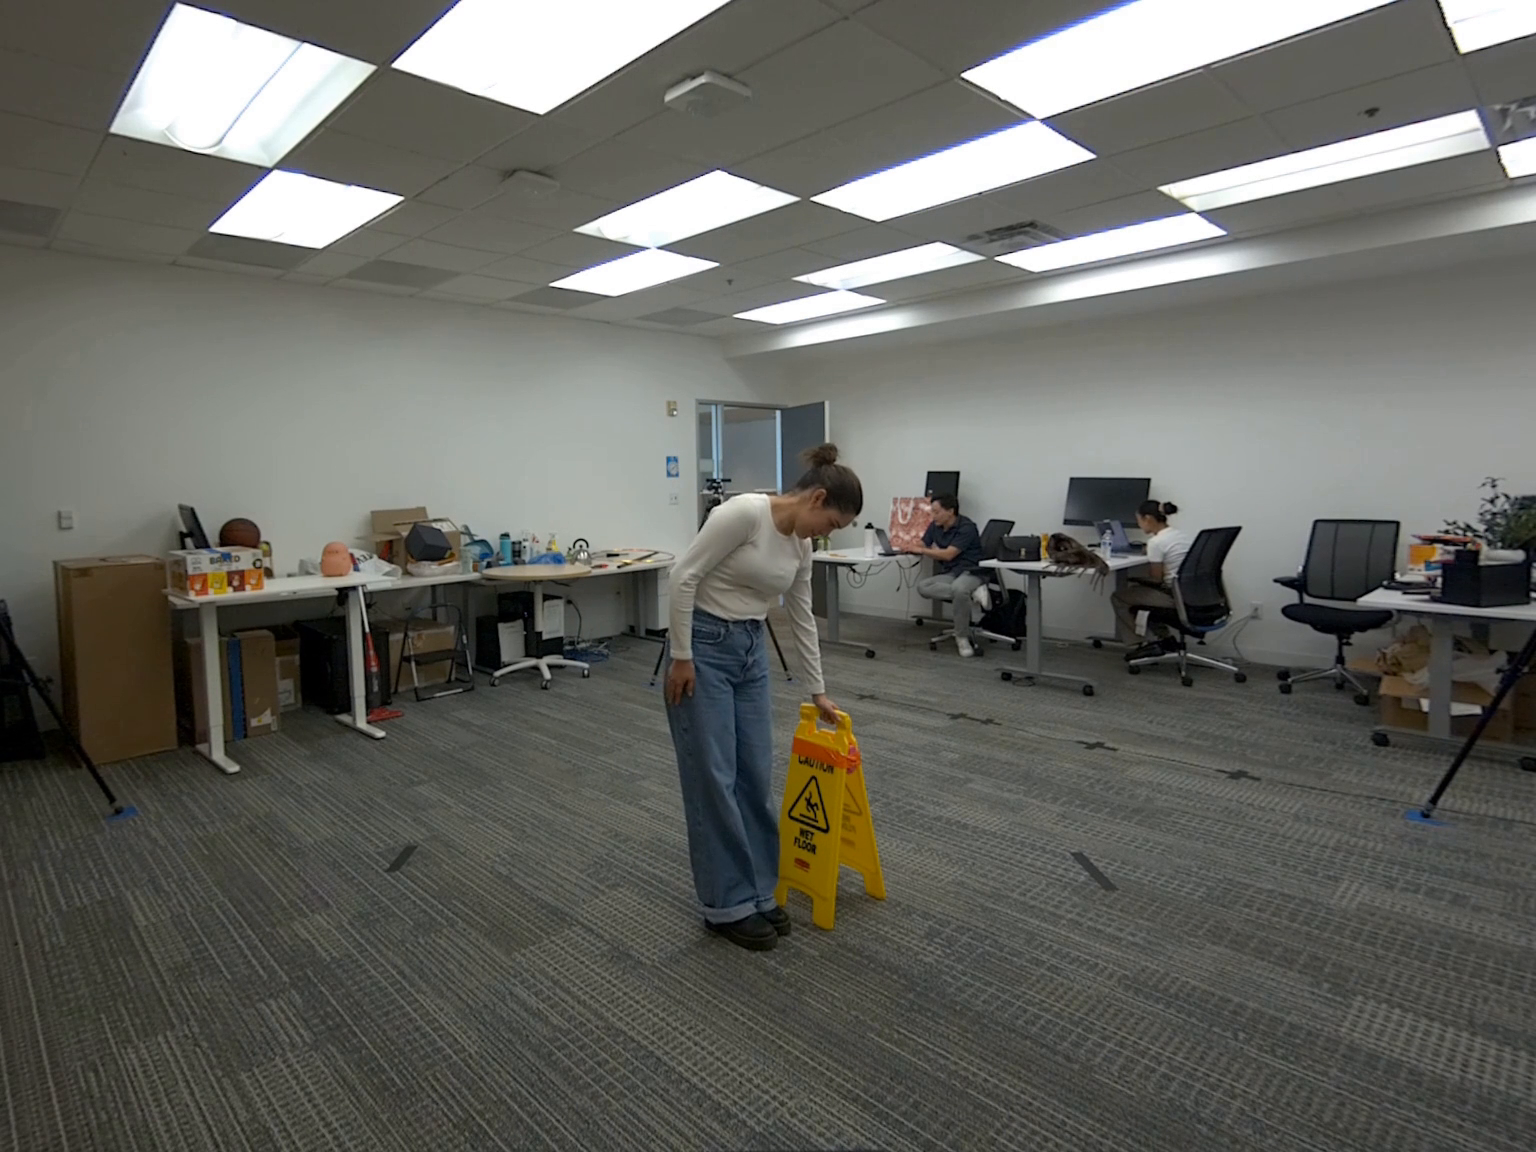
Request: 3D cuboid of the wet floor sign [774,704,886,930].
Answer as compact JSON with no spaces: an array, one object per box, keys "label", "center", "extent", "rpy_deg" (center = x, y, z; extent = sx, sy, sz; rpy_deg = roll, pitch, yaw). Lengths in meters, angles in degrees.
[{"label":"wet floor sign","center":[0.190,0.751,2.806],"extent":[0.282,0.643,0.291],"rpy_deg":[-5,6,-44]}]
